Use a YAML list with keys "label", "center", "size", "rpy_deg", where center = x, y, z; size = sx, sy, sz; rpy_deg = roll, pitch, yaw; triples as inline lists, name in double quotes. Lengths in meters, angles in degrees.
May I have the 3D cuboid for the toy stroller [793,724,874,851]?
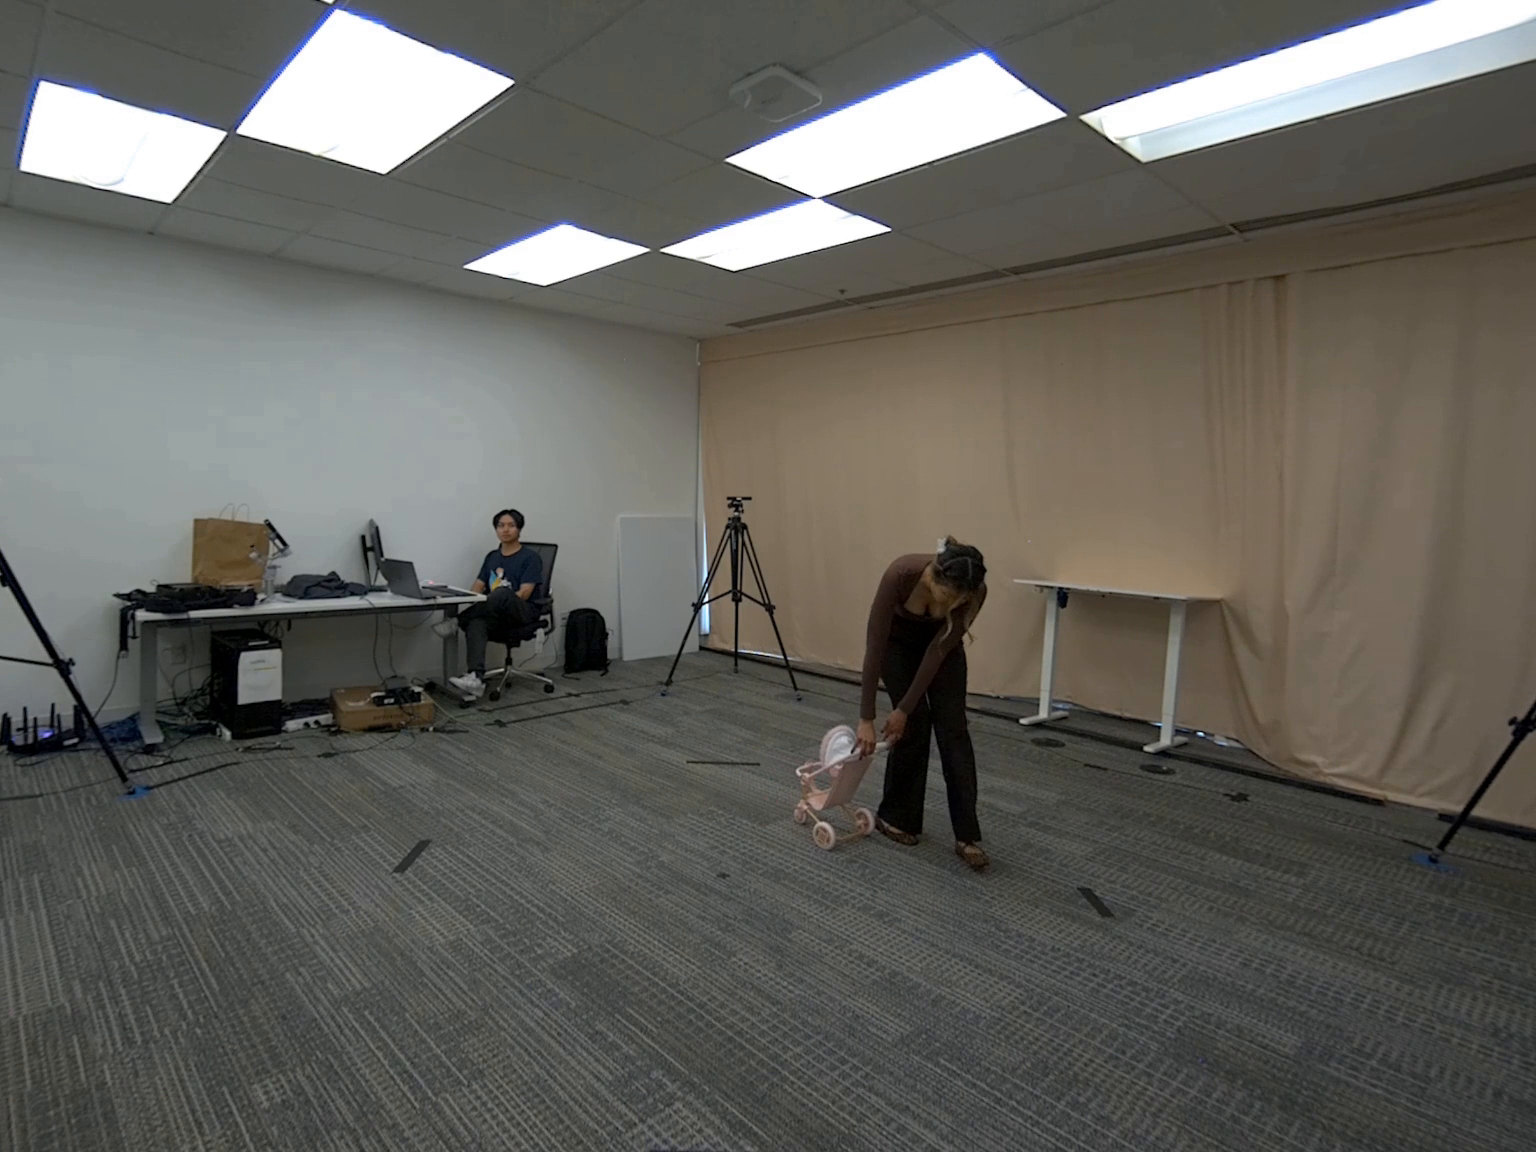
- label: "toy stroller"
  center: [0.272, 0.853, 3.482]
  size: [0.275, 0.530, 0.352]
  rpy_deg: [0, 19, -39]
